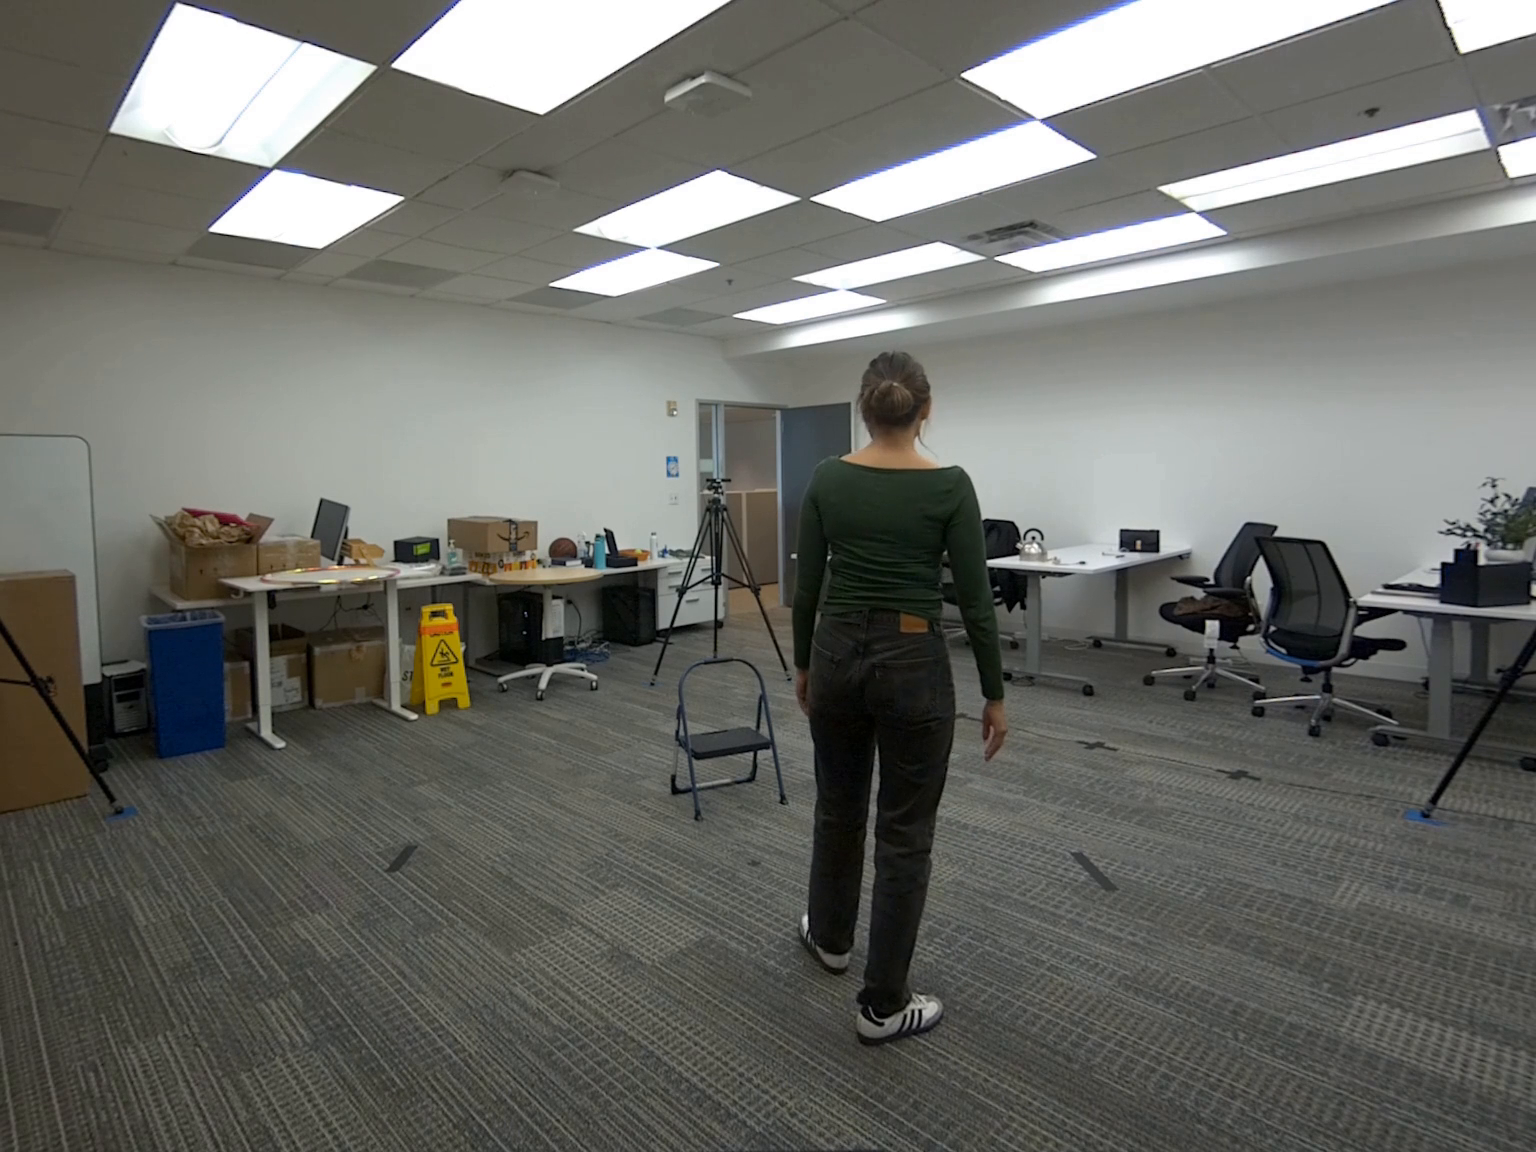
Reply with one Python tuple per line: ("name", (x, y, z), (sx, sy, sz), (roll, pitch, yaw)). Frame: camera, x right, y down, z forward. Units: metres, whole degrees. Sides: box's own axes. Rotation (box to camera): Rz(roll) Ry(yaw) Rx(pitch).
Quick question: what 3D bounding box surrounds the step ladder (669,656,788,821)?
("step ladder", (-0.184, 0.672, 3.727), (0.421, 0.604, 0.358), (-3, 4, -25))
